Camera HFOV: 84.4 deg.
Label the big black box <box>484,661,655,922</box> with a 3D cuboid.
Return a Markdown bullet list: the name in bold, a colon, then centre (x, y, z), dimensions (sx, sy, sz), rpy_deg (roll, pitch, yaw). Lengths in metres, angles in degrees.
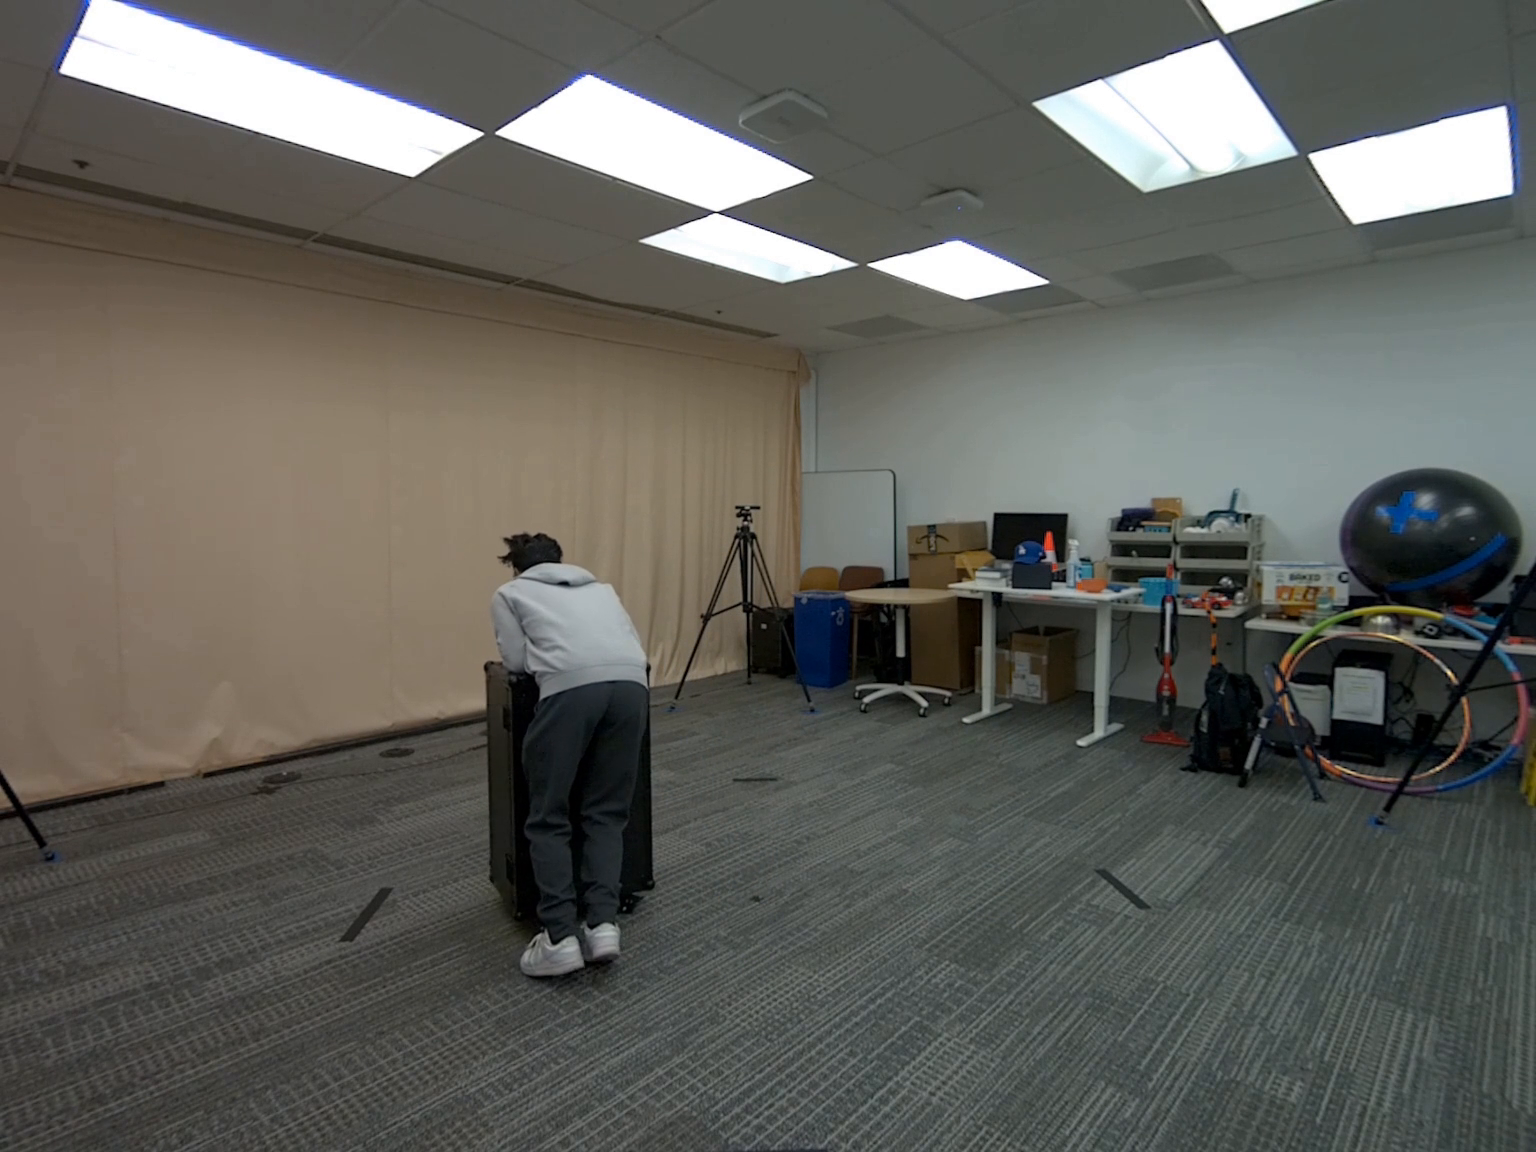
- **big black box**: centre (-0.708, 0.735, 2.949), dimensions (0.507, 0.860, 0.407), rpy_deg (-2, 2, -30)
